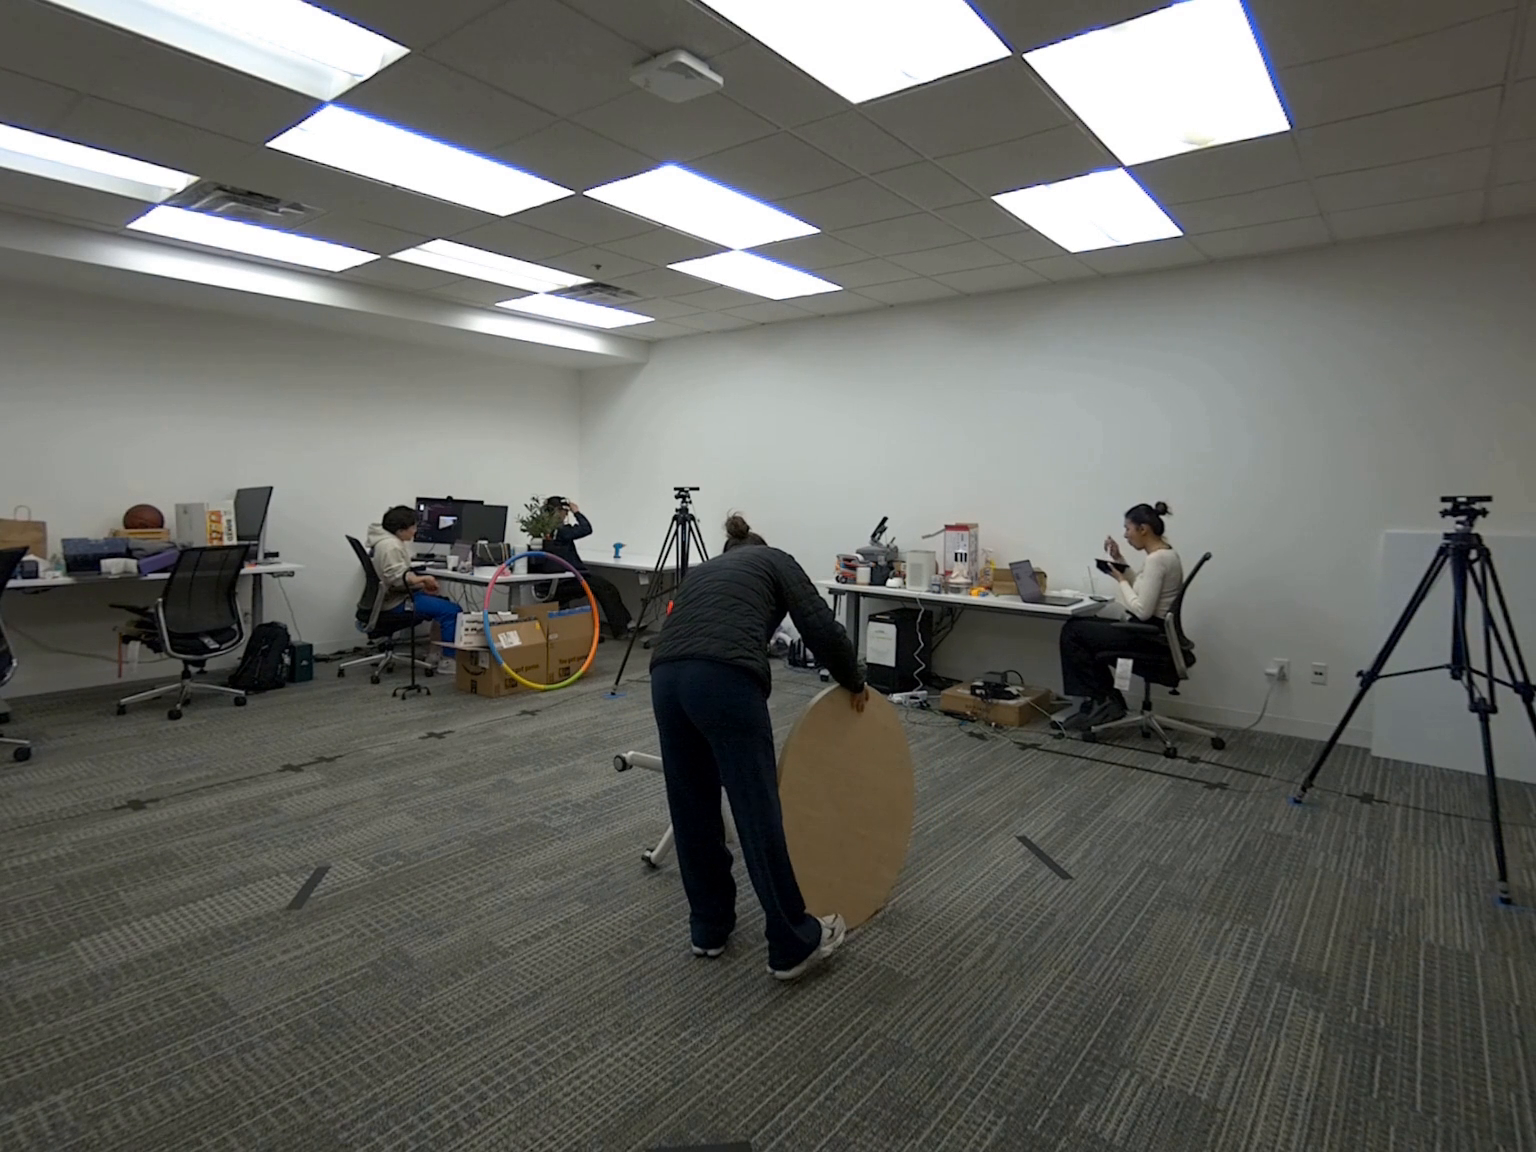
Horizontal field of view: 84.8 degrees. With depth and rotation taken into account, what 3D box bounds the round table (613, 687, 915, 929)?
[{"bbox_3d":[-0.027,0.735,3.020,0.810,0.786,0.762,-4,0,41],"label":"round table"}]
